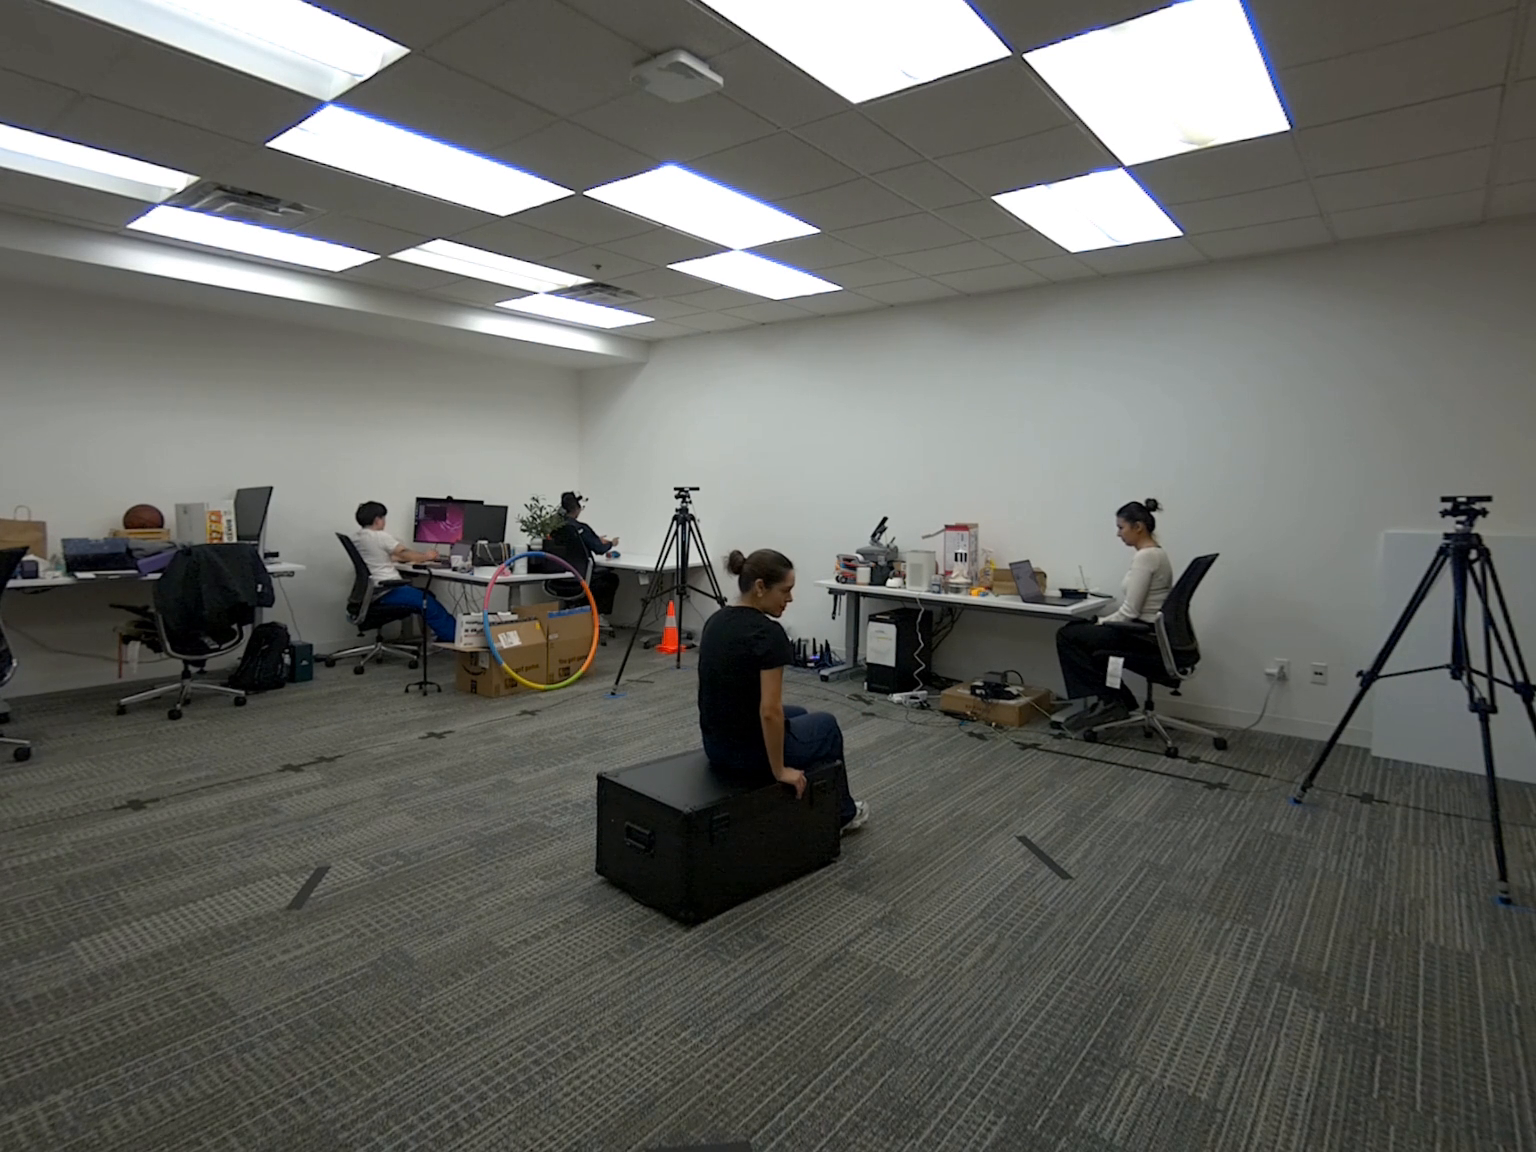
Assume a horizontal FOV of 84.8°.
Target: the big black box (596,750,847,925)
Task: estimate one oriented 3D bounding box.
[{"bbox_3d":[-0.176,0.881,3.080,0.835,0.395,0.539,-3,5,-44],"label":"big black box"}]
